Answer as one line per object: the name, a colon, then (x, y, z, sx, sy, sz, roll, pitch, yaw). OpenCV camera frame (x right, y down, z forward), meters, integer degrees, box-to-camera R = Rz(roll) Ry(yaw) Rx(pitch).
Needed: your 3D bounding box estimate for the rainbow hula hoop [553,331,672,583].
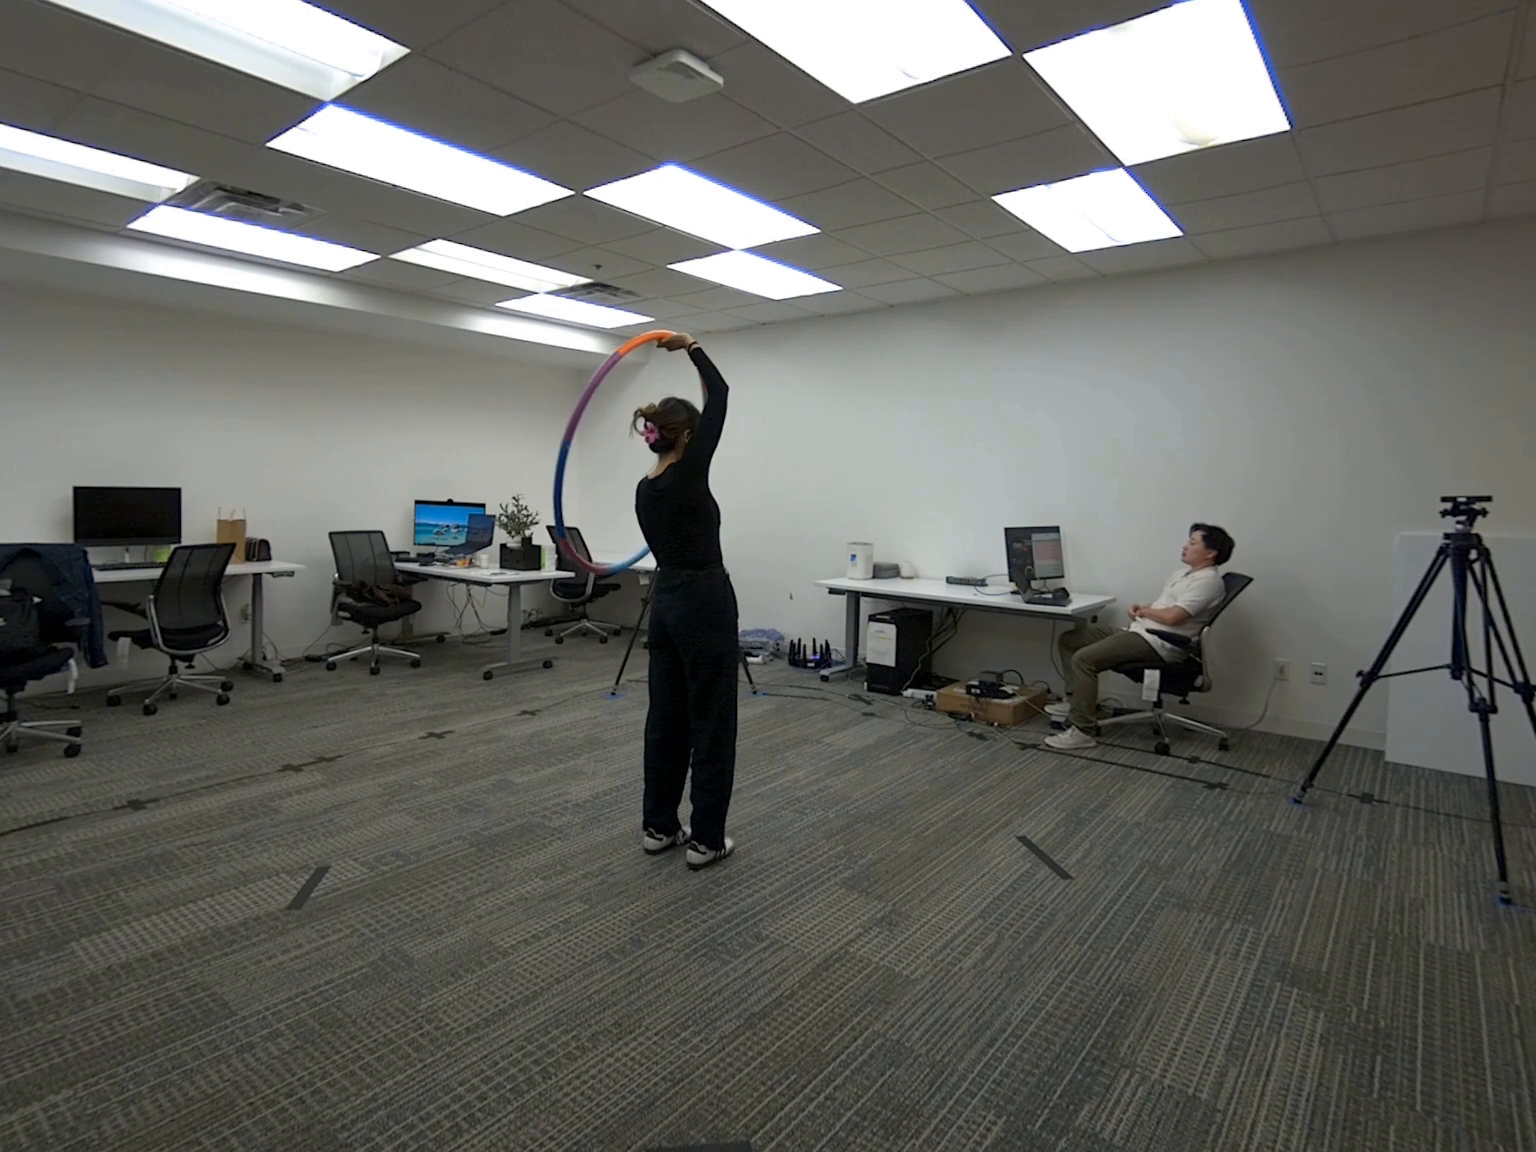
rainbow hula hoop: (-0.514, -0.470, 3.354, 0.053, 0.978, 0.963, 22, 13, 22)
